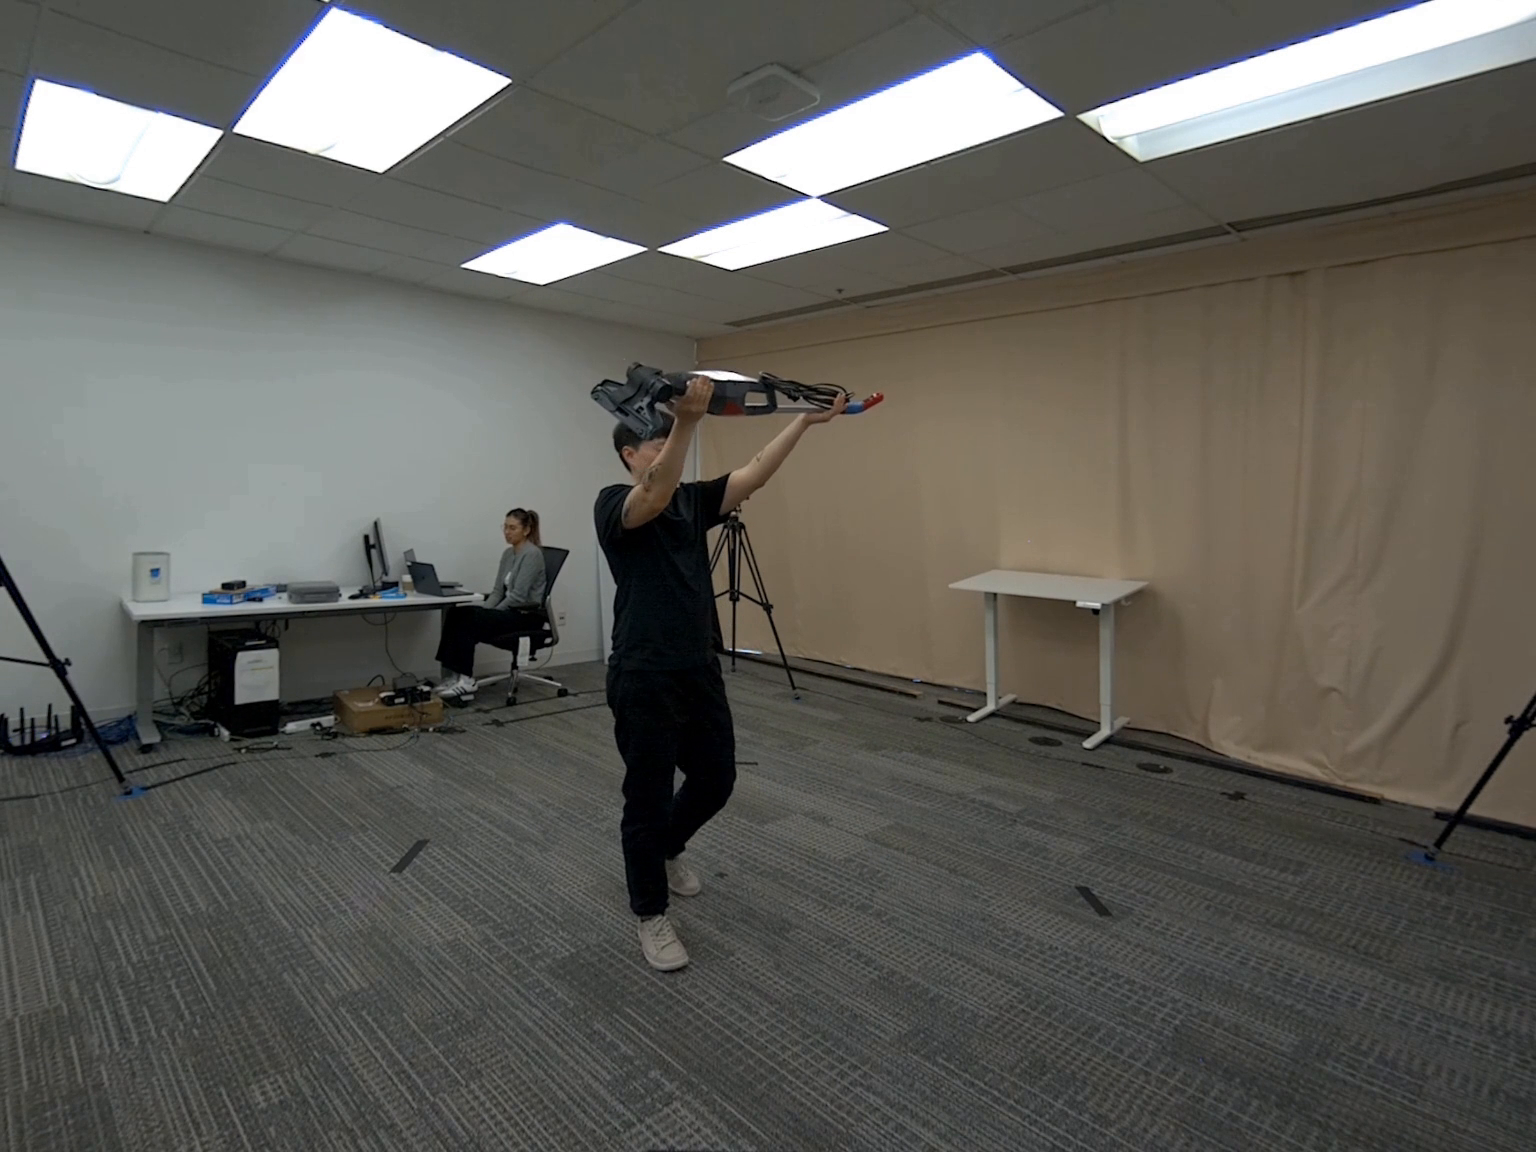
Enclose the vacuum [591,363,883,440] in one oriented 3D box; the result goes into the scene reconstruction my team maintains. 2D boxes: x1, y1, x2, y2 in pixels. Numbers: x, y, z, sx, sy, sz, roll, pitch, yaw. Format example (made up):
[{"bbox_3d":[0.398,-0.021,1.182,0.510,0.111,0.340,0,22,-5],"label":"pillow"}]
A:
[{"bbox_3d":[0.016,-0.522,2.425,0.260,0.142,1.030,35,32,33],"label":"vacuum"}]
